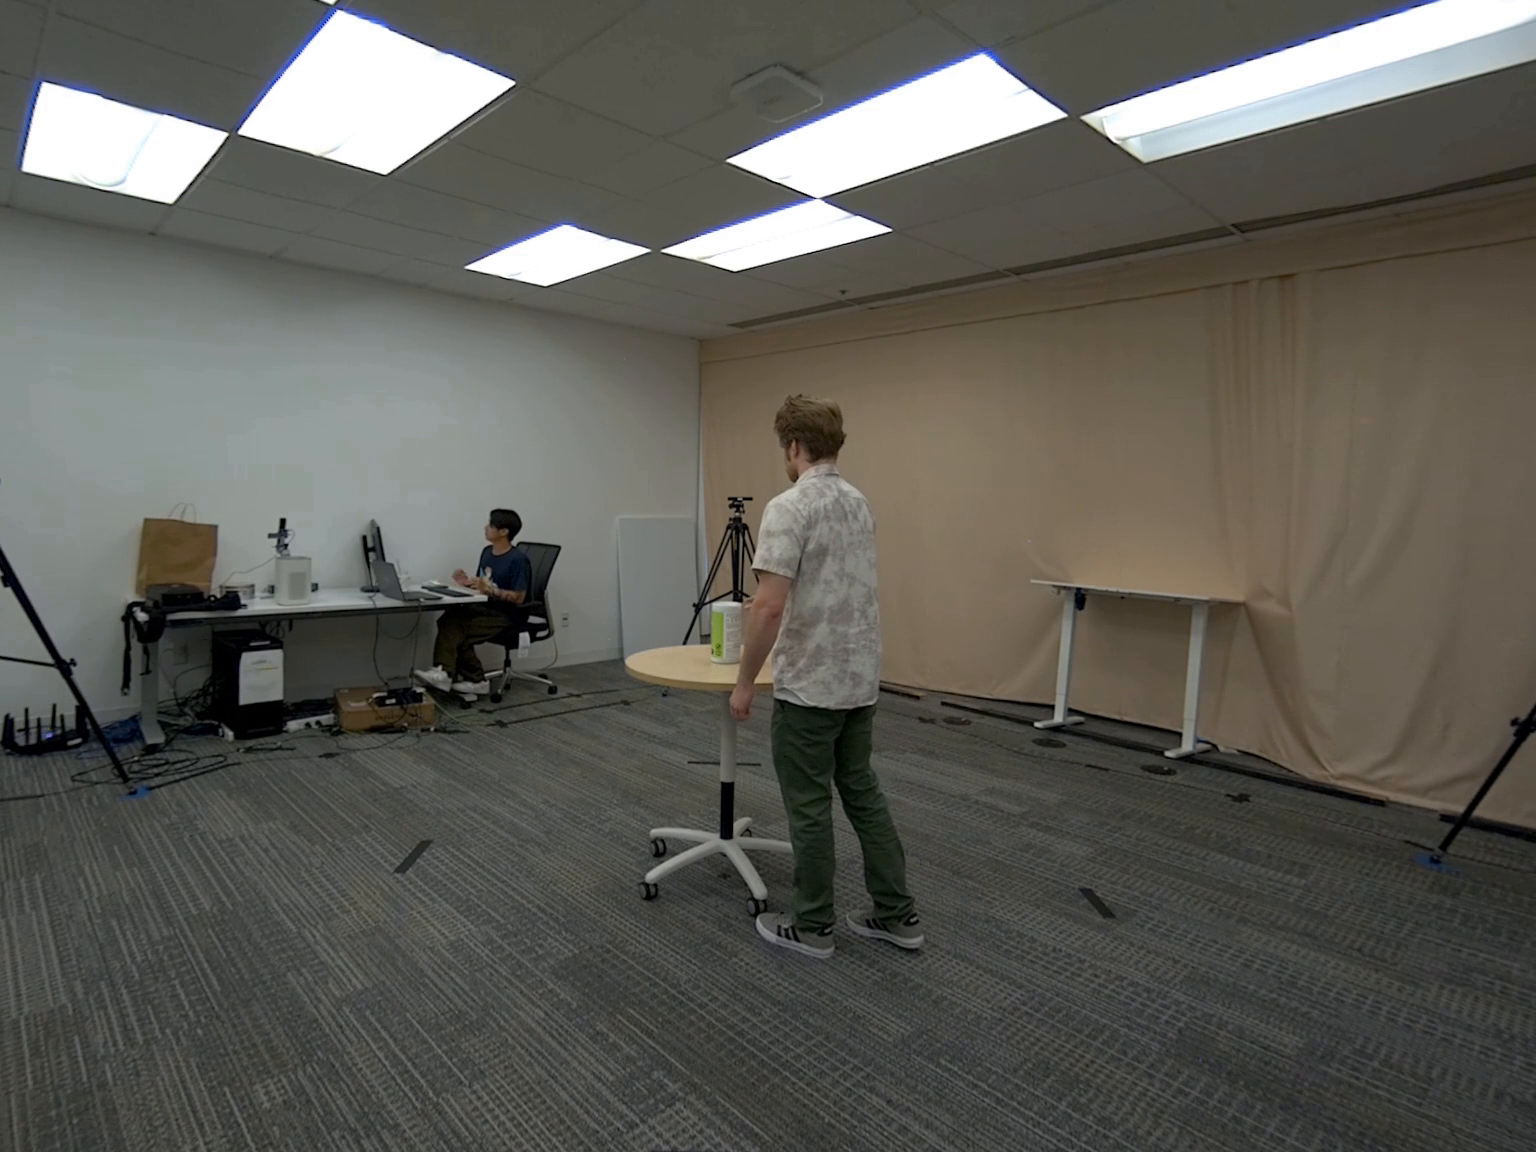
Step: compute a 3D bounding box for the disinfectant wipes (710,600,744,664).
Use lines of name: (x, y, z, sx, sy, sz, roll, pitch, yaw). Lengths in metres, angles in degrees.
disinfectant wipes: (-0.152, 0.207, 3.077, 0.118, 0.217, 0.118, 2, 2, -1)
